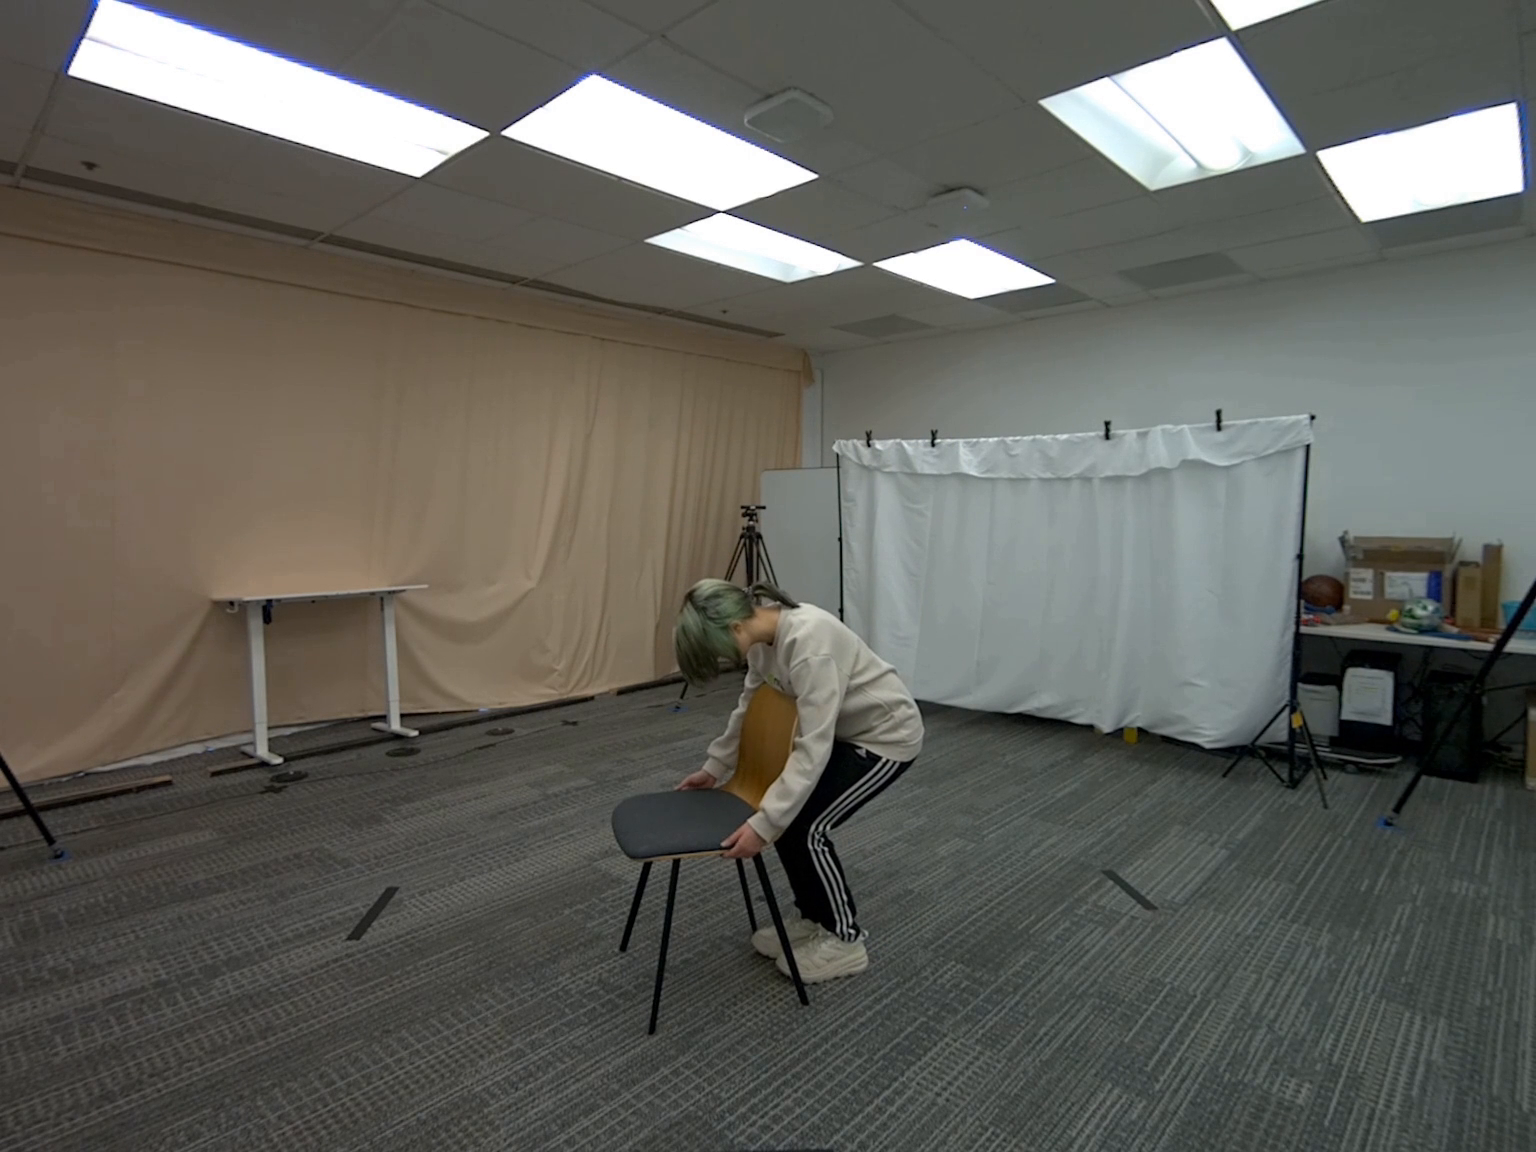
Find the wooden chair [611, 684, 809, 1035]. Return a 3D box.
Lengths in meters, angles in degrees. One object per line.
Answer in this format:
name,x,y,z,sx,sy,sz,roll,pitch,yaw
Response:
wooden chair,-0.190,0.765,2.462,0.513,0.876,0.488,3,2,-19
